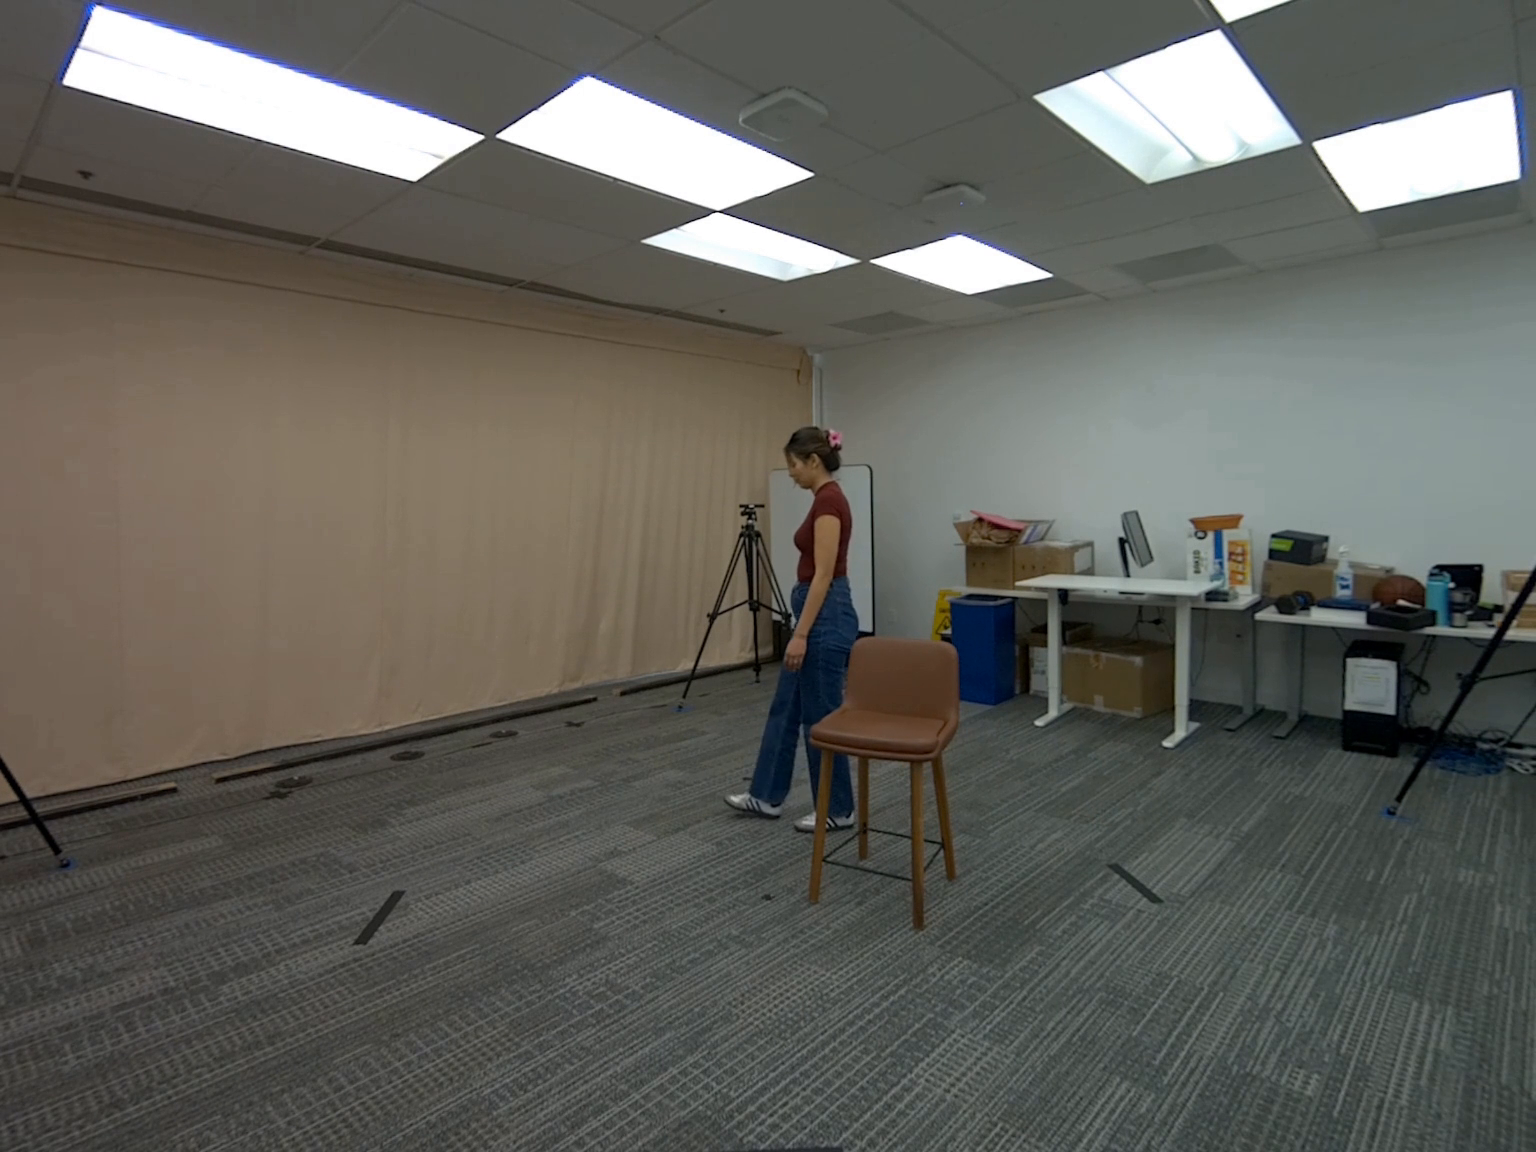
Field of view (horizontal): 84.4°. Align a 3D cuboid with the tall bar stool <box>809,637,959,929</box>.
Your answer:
[{"bbox_3d":[0.434,0.696,3.002,0.470,0.888,0.455,2,2,30],"label":"tall bar stool"}]
